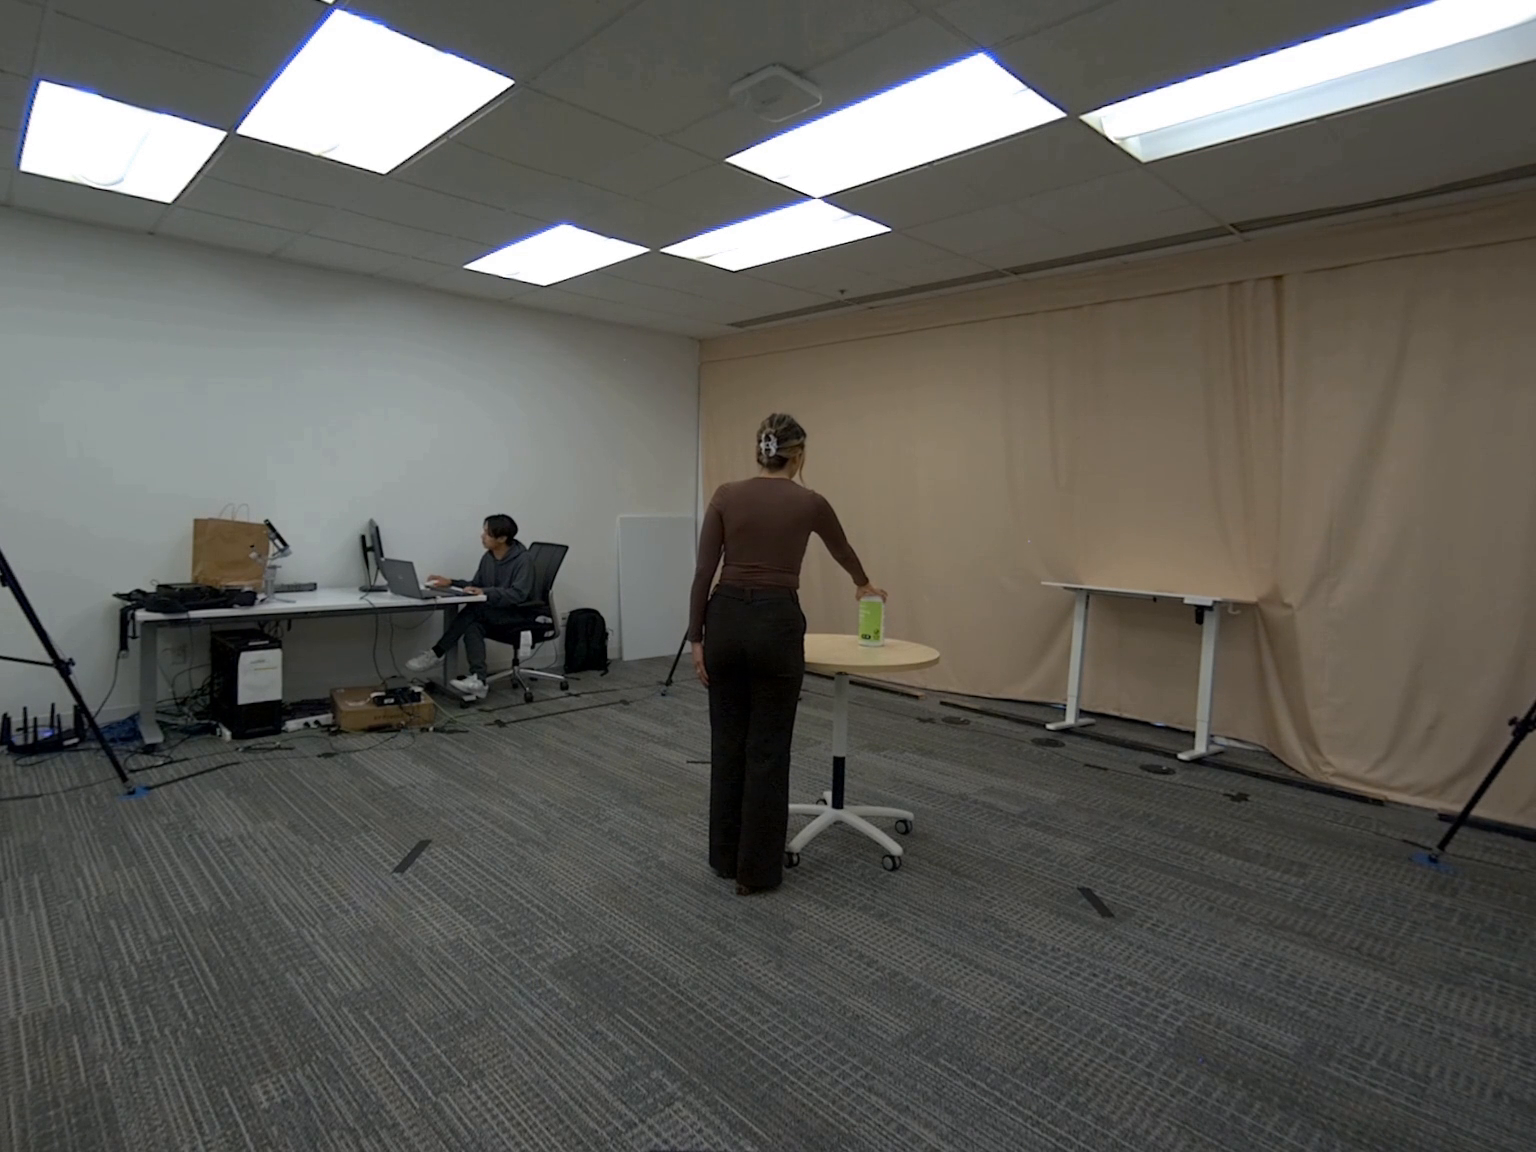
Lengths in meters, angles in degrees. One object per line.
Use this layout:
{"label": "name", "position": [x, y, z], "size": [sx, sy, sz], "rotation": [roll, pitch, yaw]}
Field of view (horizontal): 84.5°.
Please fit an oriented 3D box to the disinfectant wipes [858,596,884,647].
{"label": "disinfectant wipes", "position": [0.429, 0.183, 3.521], "size": [0.118, 0.216, 0.118], "rotation": [1, 5, -1]}
